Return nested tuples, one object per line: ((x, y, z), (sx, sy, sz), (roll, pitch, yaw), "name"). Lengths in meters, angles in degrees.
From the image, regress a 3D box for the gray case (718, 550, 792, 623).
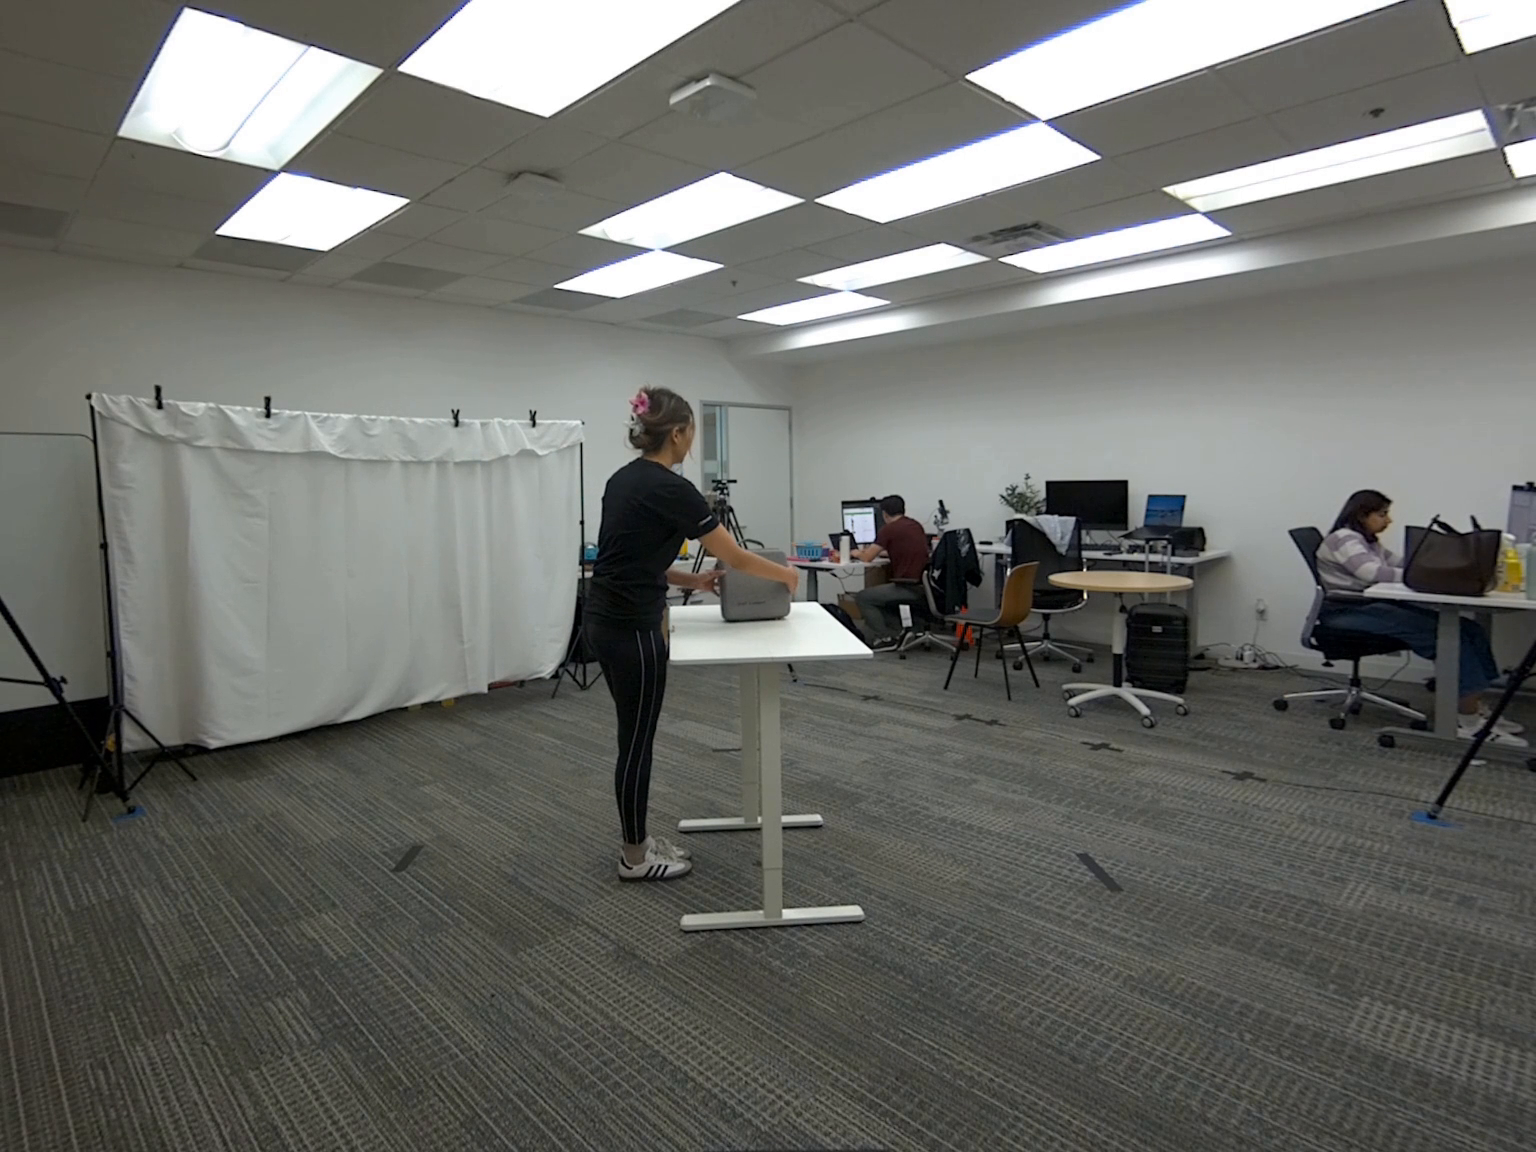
((-0.055, 0.031, 3.147), (0.254, 0.263, 0.104), (-2, -11, -14), "gray case")
